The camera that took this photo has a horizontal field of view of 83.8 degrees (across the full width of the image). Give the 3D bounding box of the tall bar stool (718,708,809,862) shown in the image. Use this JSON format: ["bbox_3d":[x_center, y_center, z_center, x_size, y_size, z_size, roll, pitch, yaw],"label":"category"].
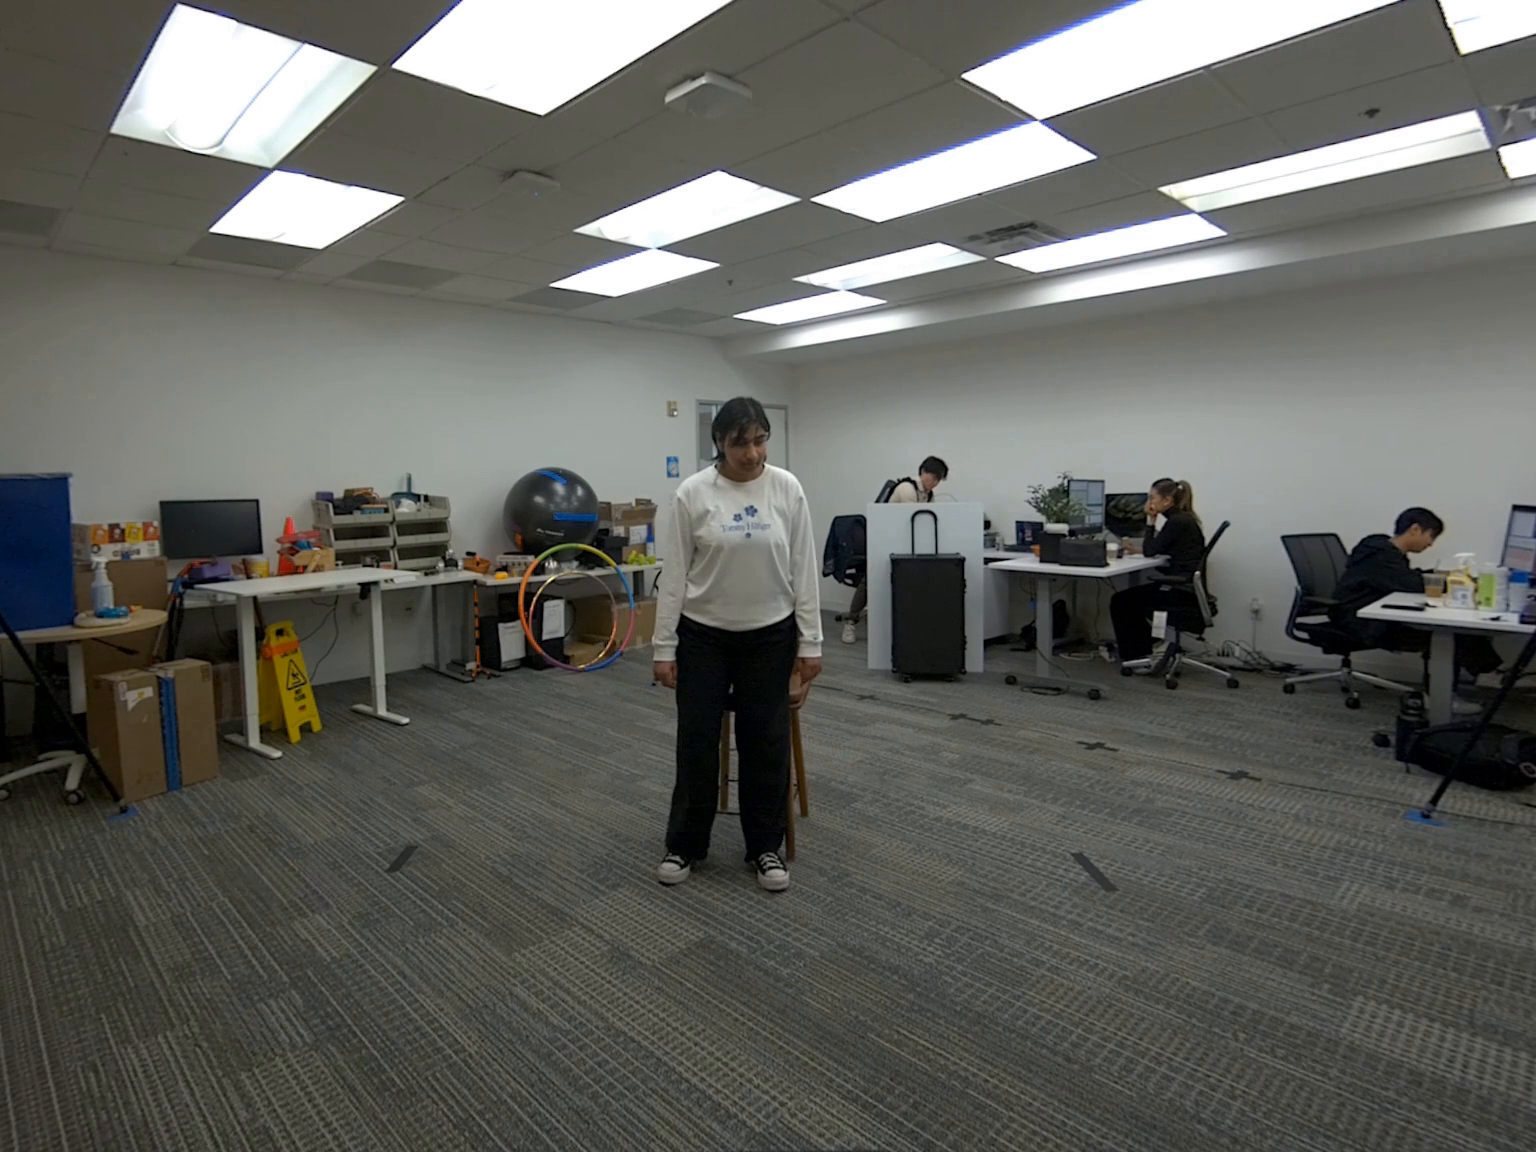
[{"bbox_3d":[-0.057,0.579,3.370,0.463,0.888,0.462,0,2,13],"label":"tall bar stool"}]
